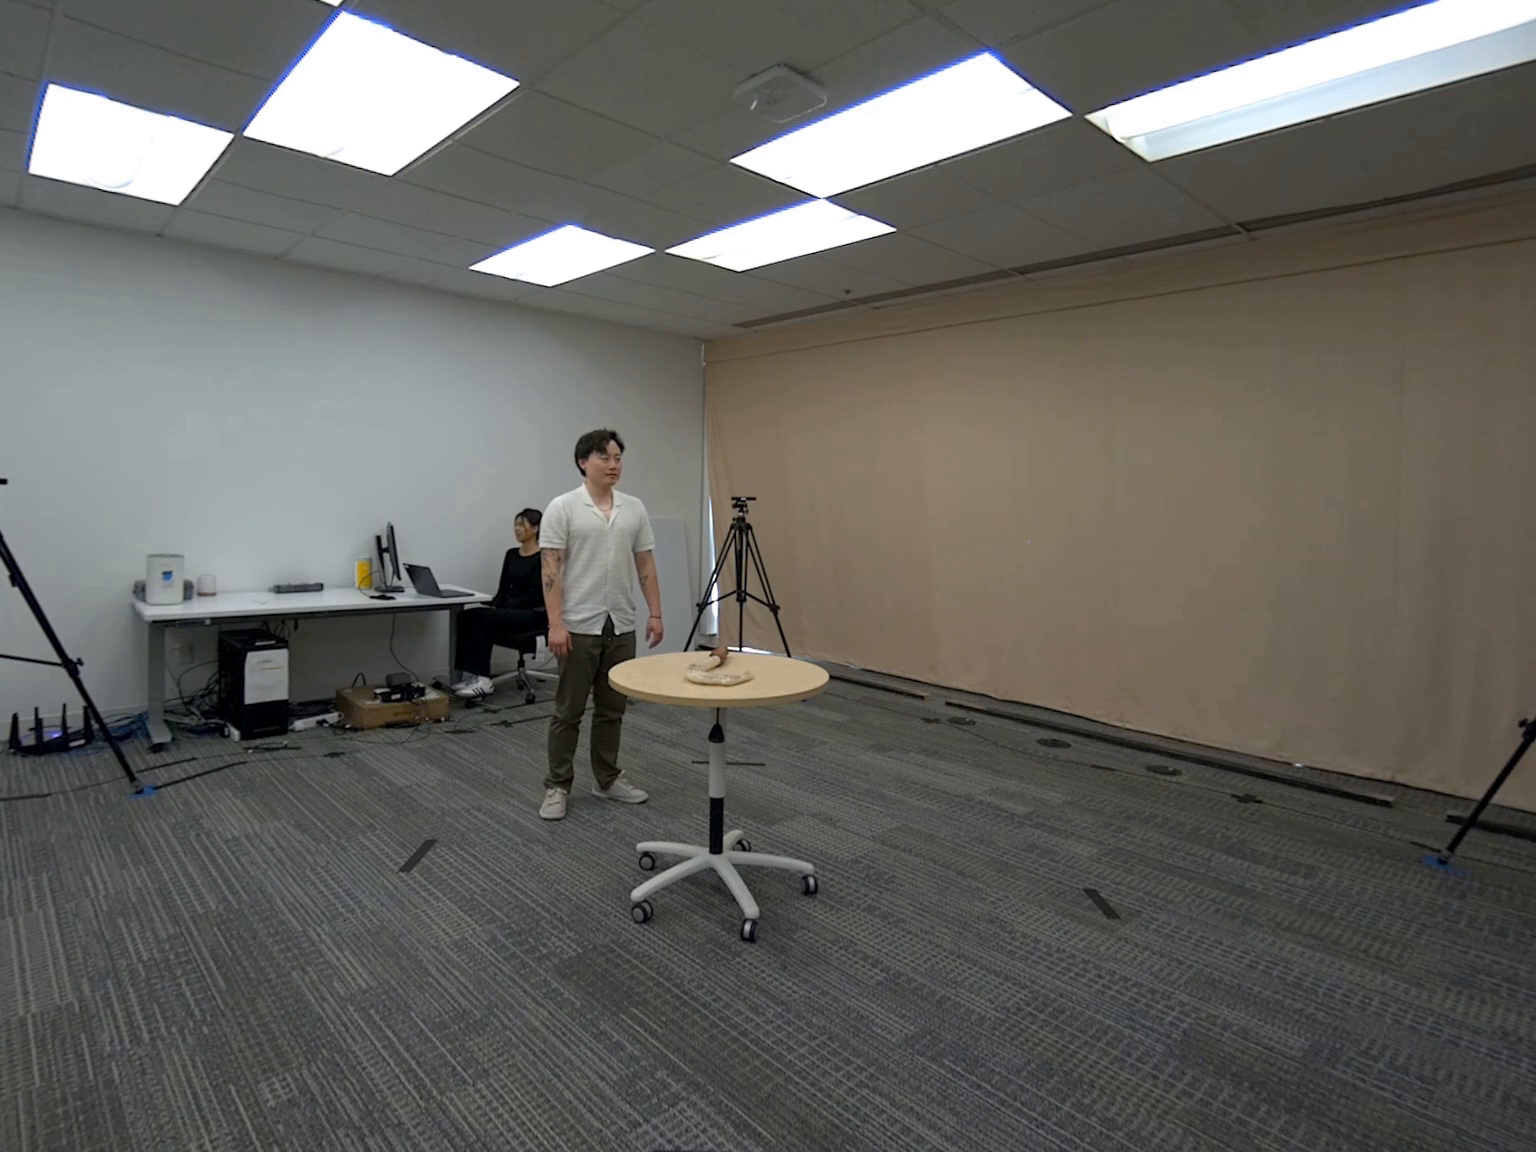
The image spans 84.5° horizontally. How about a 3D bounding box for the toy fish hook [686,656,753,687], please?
[{"bbox_3d":[-0.149,0.321,2.969,0.226,0.048,0.505,10,8,7],"label":"toy fish hook"}]
